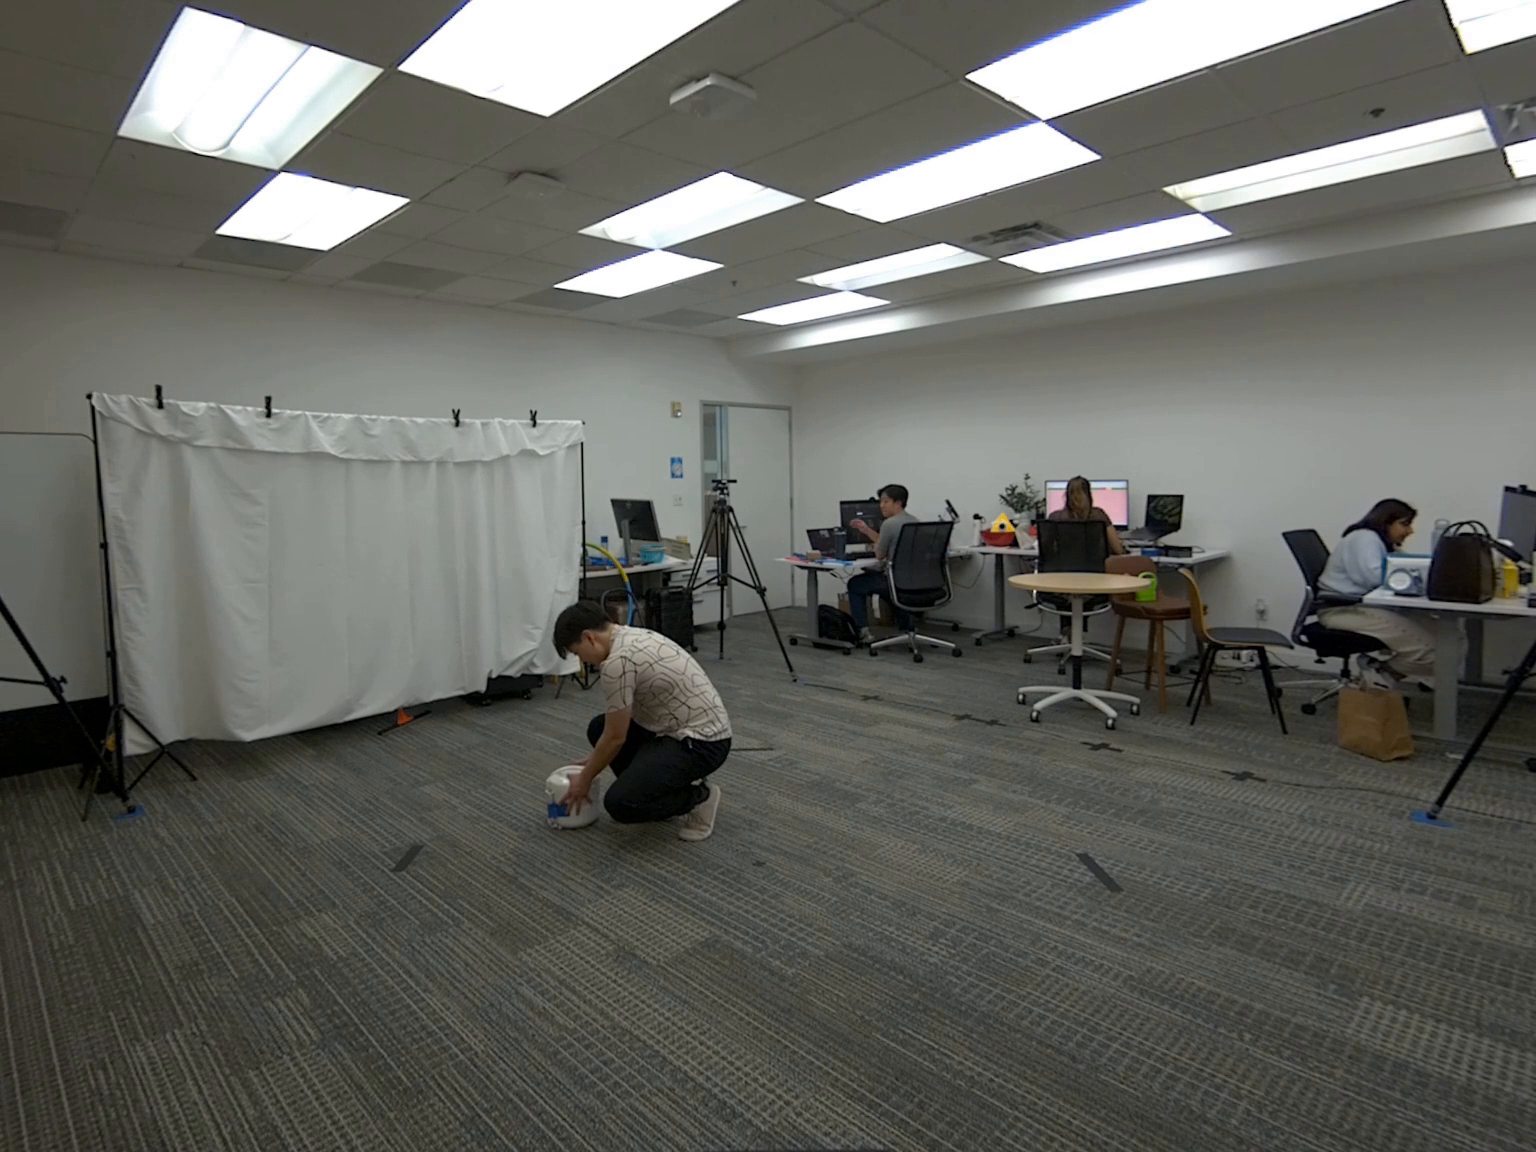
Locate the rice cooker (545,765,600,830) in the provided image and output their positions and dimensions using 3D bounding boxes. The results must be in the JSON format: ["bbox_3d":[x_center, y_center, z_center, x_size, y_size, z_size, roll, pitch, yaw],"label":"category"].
[{"bbox_3d":[-0.802,0.900,3.533,0.220,0.232,0.219,-2,5,-5],"label":"rice cooker"}]
